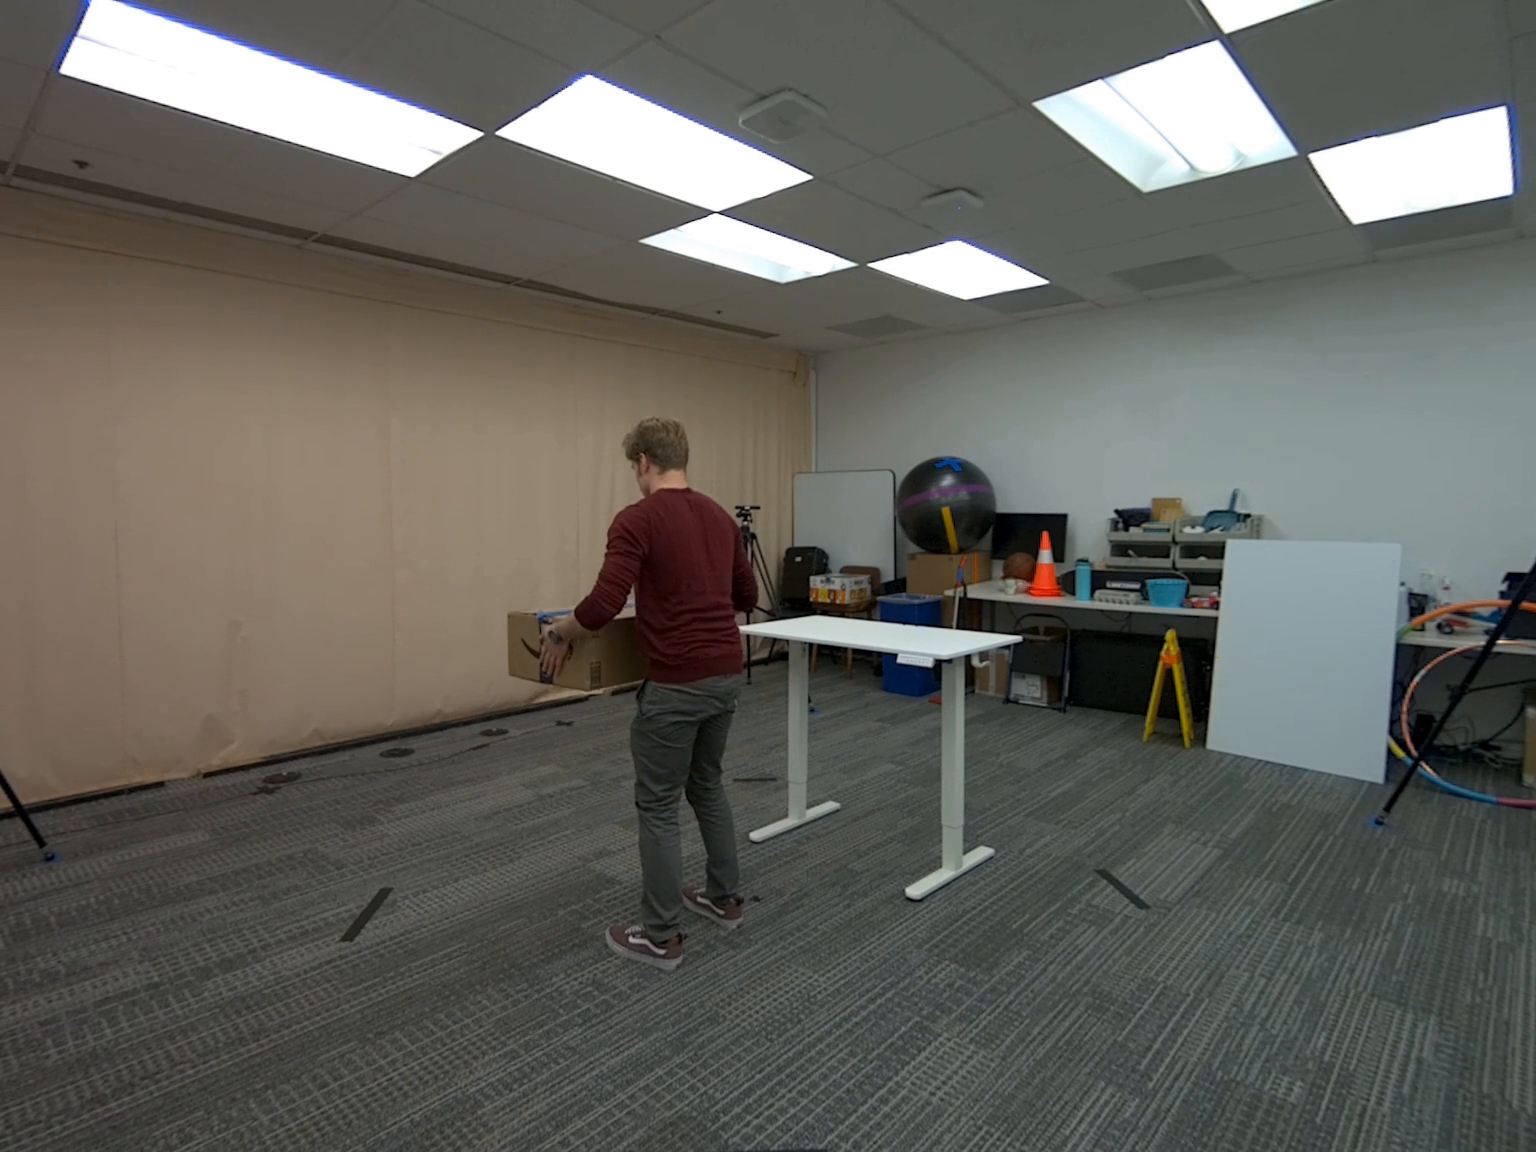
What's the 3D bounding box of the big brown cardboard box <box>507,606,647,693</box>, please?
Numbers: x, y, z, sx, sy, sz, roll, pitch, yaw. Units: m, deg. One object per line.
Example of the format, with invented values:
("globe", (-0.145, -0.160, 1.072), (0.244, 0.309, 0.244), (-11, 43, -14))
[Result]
("big brown cardboard box", (-0.541, 0.224, 2.893), (0.431, 0.233, 0.571), (3, 4, 39))
